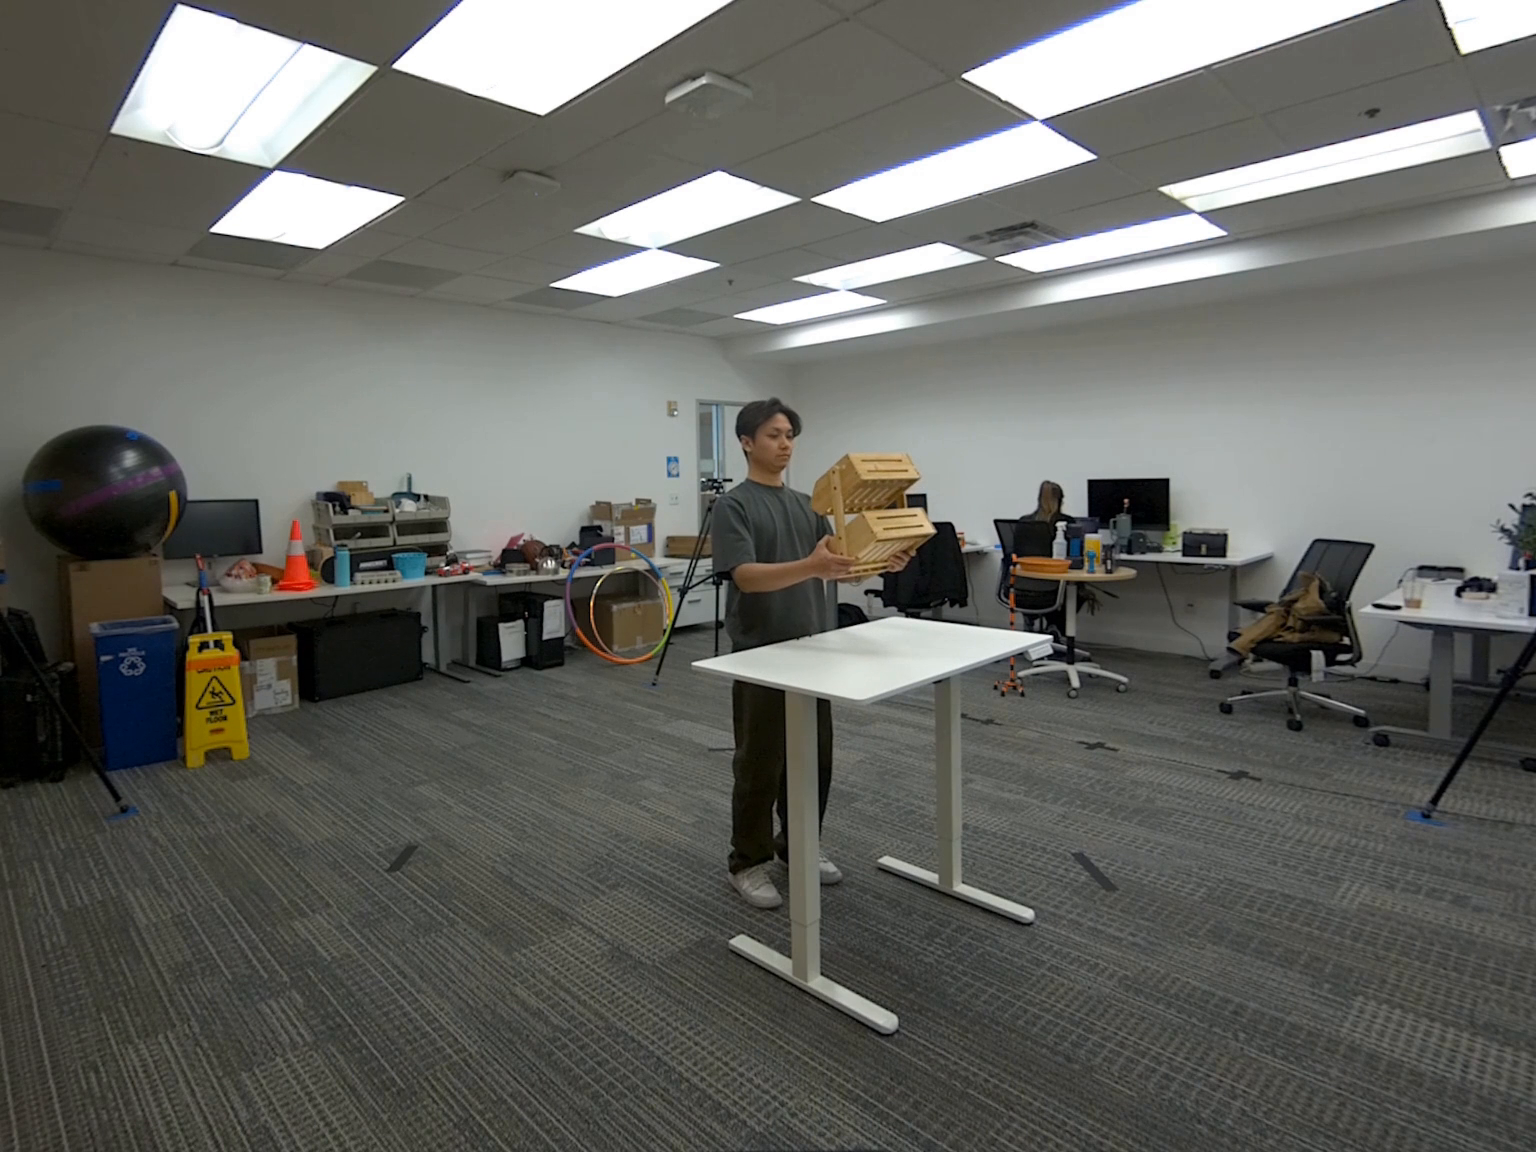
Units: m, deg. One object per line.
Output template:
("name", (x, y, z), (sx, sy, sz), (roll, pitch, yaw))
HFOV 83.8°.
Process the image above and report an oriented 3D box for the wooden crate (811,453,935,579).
("wooden crate", (0.299, -0.184, 2.607), (0.316, 0.280, 0.303), (-6, -27, -45))
